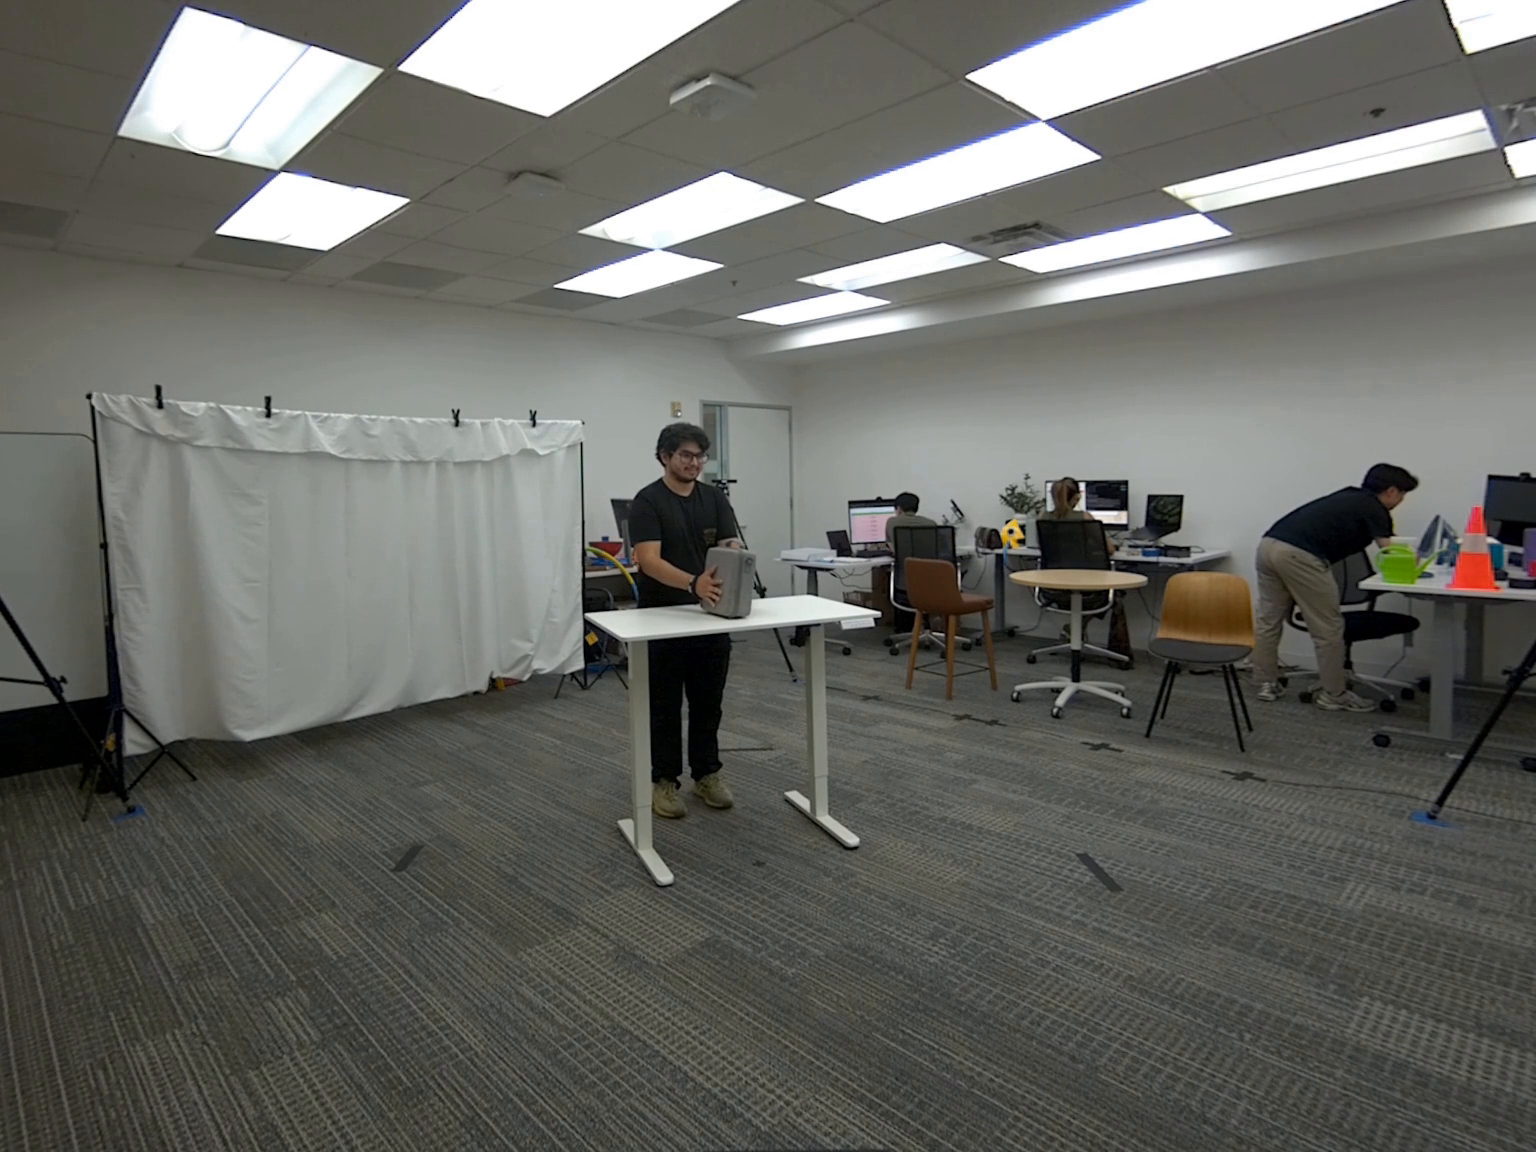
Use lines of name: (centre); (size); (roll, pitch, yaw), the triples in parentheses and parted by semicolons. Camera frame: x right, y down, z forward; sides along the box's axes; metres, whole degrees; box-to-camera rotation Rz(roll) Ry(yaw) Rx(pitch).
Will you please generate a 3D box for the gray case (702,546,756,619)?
gray case: (-0.151, 0.019, 3.258); (0.102, 0.261, 0.263); (7, 0, -26)
